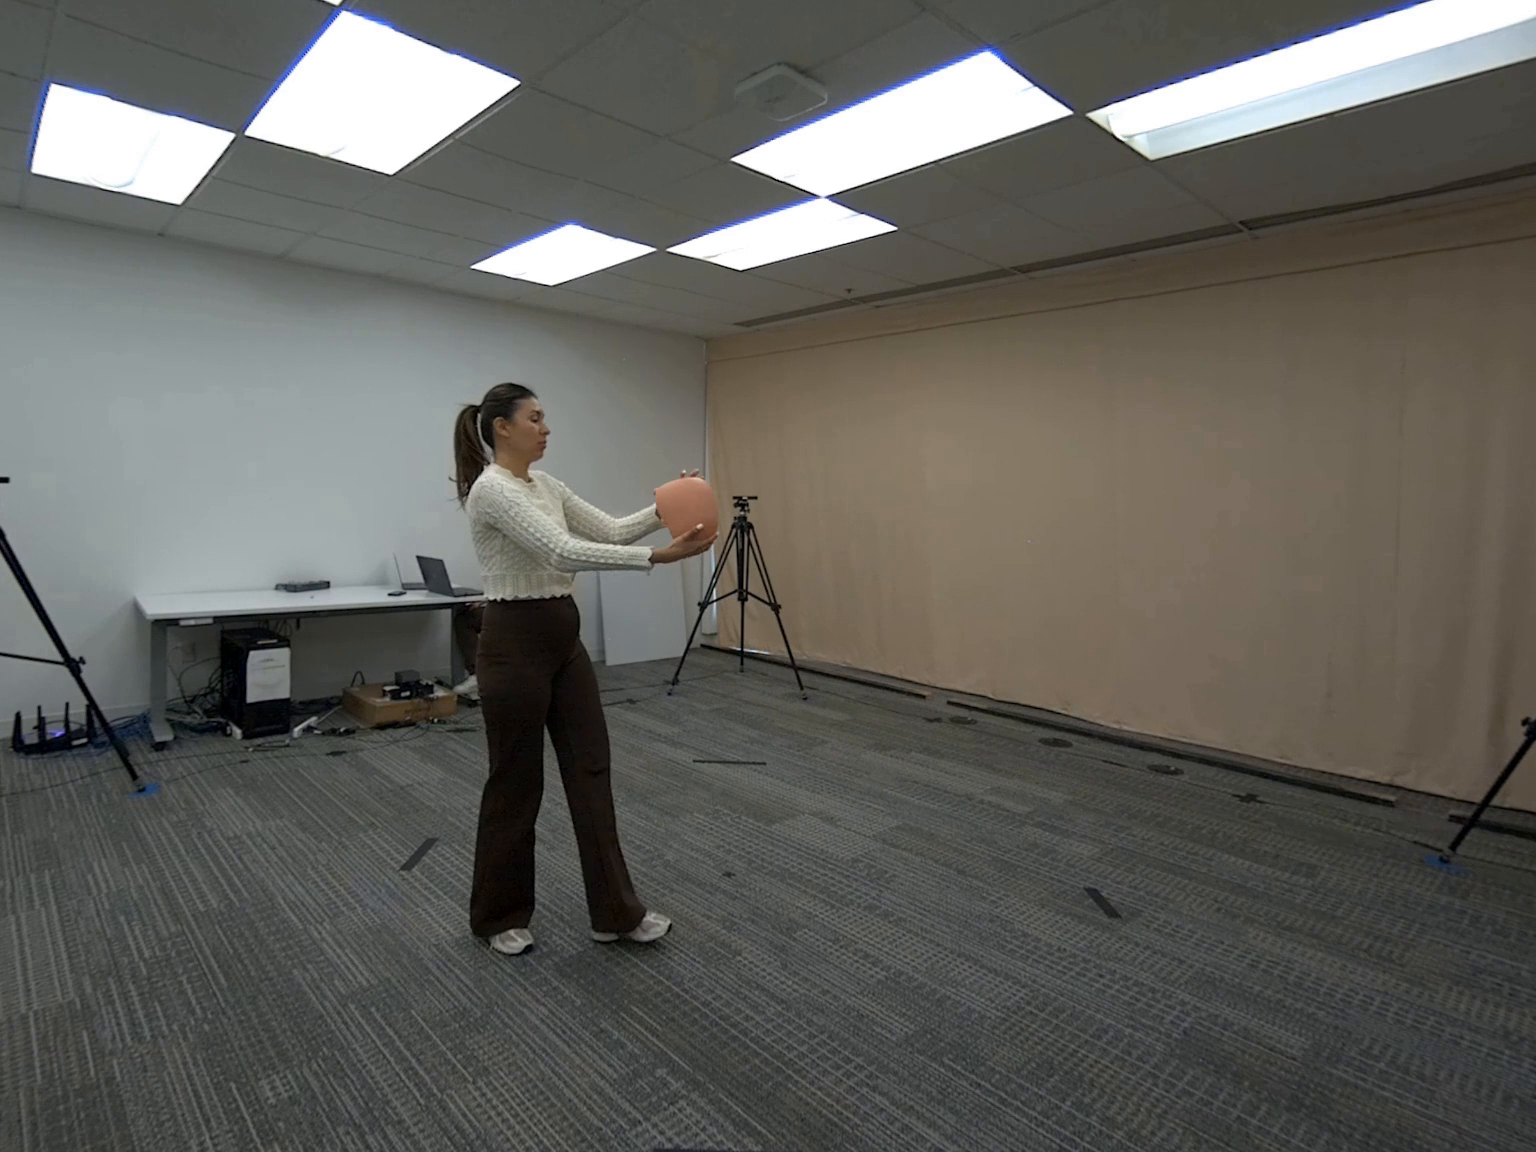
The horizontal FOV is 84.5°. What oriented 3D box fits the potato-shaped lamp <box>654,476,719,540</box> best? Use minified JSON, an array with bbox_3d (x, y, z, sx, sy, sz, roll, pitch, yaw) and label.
[{"bbox_3d":[-0.243,-0.181,2.387,0.167,0.201,0.166,7,-23,-39],"label":"potato-shaped lamp"}]
